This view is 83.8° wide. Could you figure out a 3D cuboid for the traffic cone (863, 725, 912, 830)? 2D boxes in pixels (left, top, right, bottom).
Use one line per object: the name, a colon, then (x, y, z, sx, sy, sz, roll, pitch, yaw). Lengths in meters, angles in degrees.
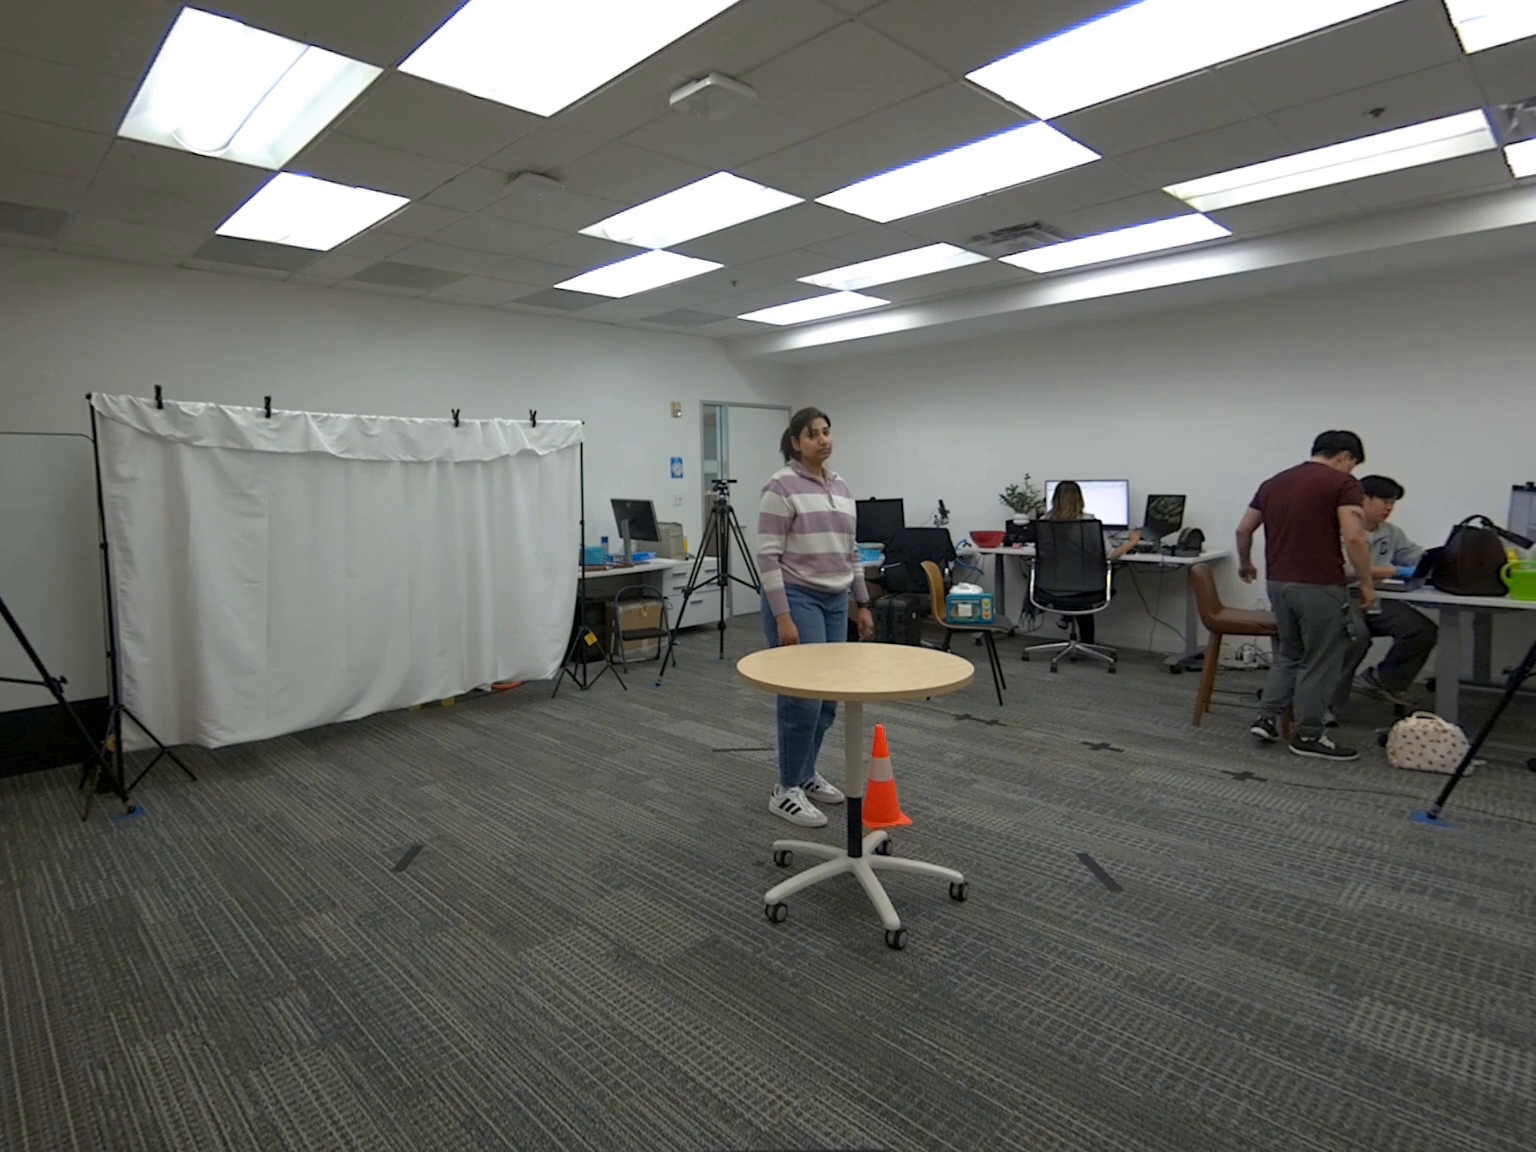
traffic cone: (0.466, 0.812, 3.513, 0.202, 0.382, 0.207, -2, 5, -16)
